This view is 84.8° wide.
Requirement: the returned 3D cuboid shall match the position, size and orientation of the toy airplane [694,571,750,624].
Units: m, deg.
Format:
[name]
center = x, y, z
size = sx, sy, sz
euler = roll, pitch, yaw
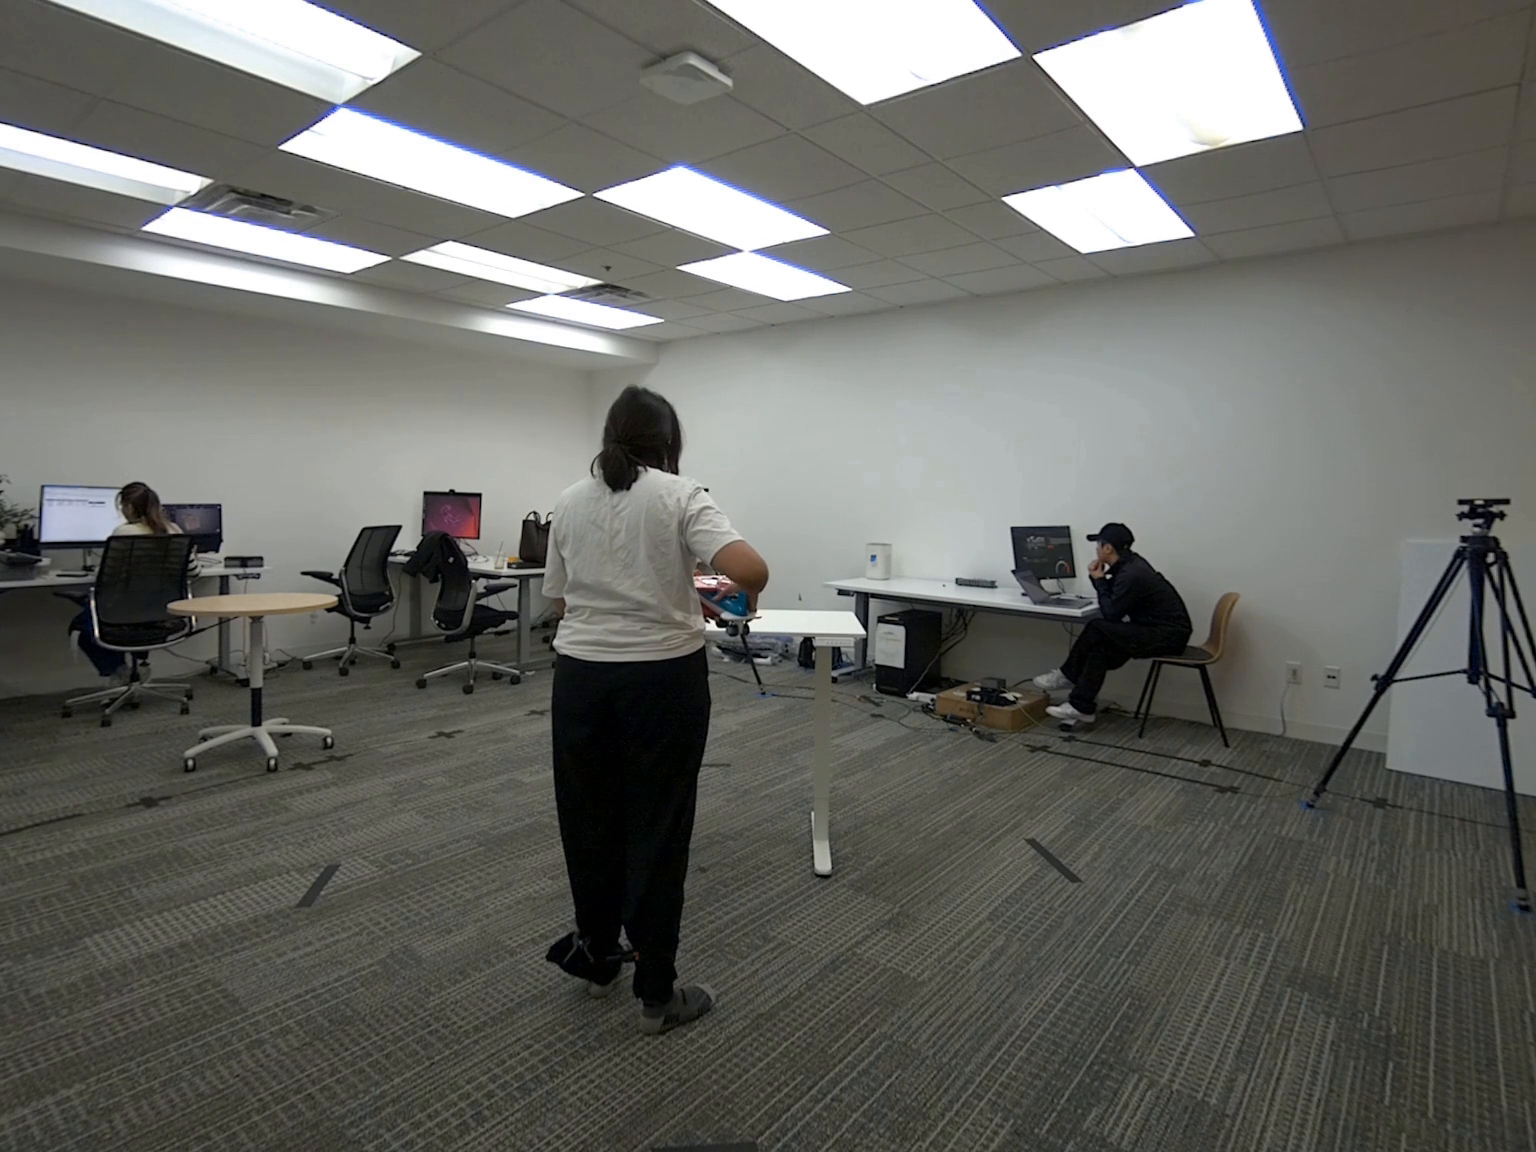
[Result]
[toy airplane]
center = -0.130, 0.082, 2.407
size = 0.267, 0.156, 0.243
euler = 3, 2, 37
